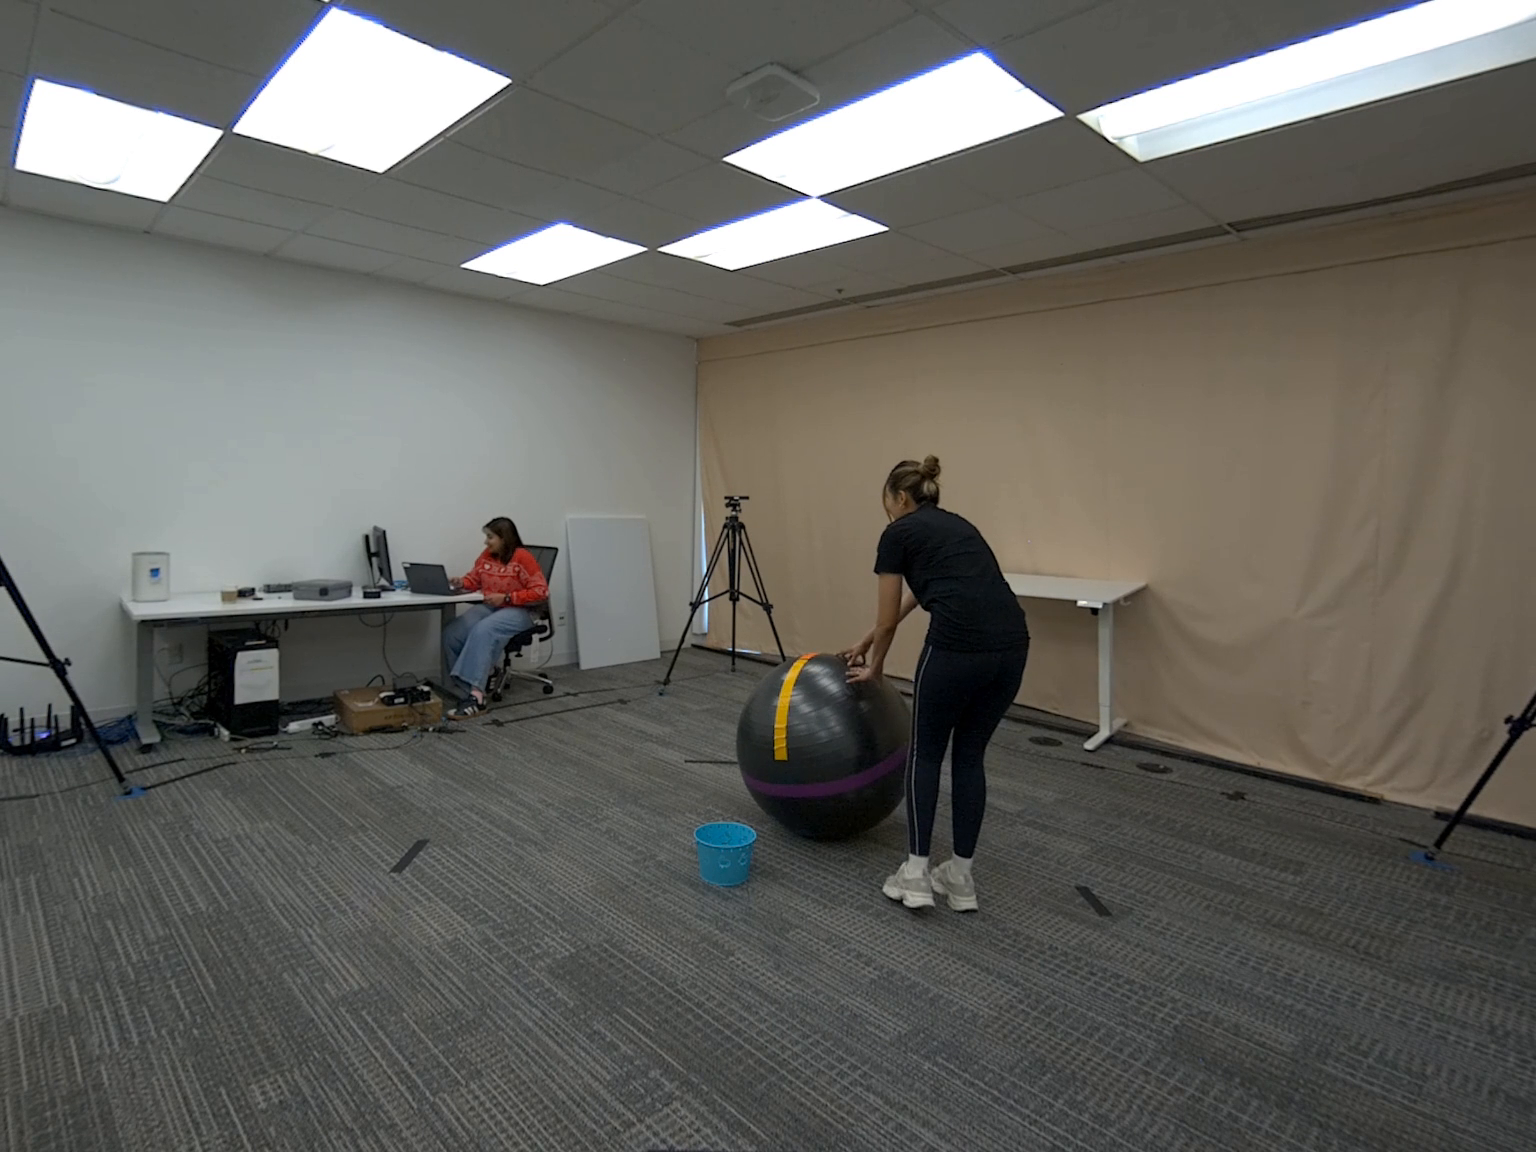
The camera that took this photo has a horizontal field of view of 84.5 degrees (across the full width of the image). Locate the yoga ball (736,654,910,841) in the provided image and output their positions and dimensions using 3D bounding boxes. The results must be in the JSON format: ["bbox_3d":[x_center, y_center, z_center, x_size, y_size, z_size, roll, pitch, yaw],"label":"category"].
[{"bbox_3d":[0.242,0.707,3.542,0.757,0.756,0.761,1,4,-1],"label":"yoga ball"}]
